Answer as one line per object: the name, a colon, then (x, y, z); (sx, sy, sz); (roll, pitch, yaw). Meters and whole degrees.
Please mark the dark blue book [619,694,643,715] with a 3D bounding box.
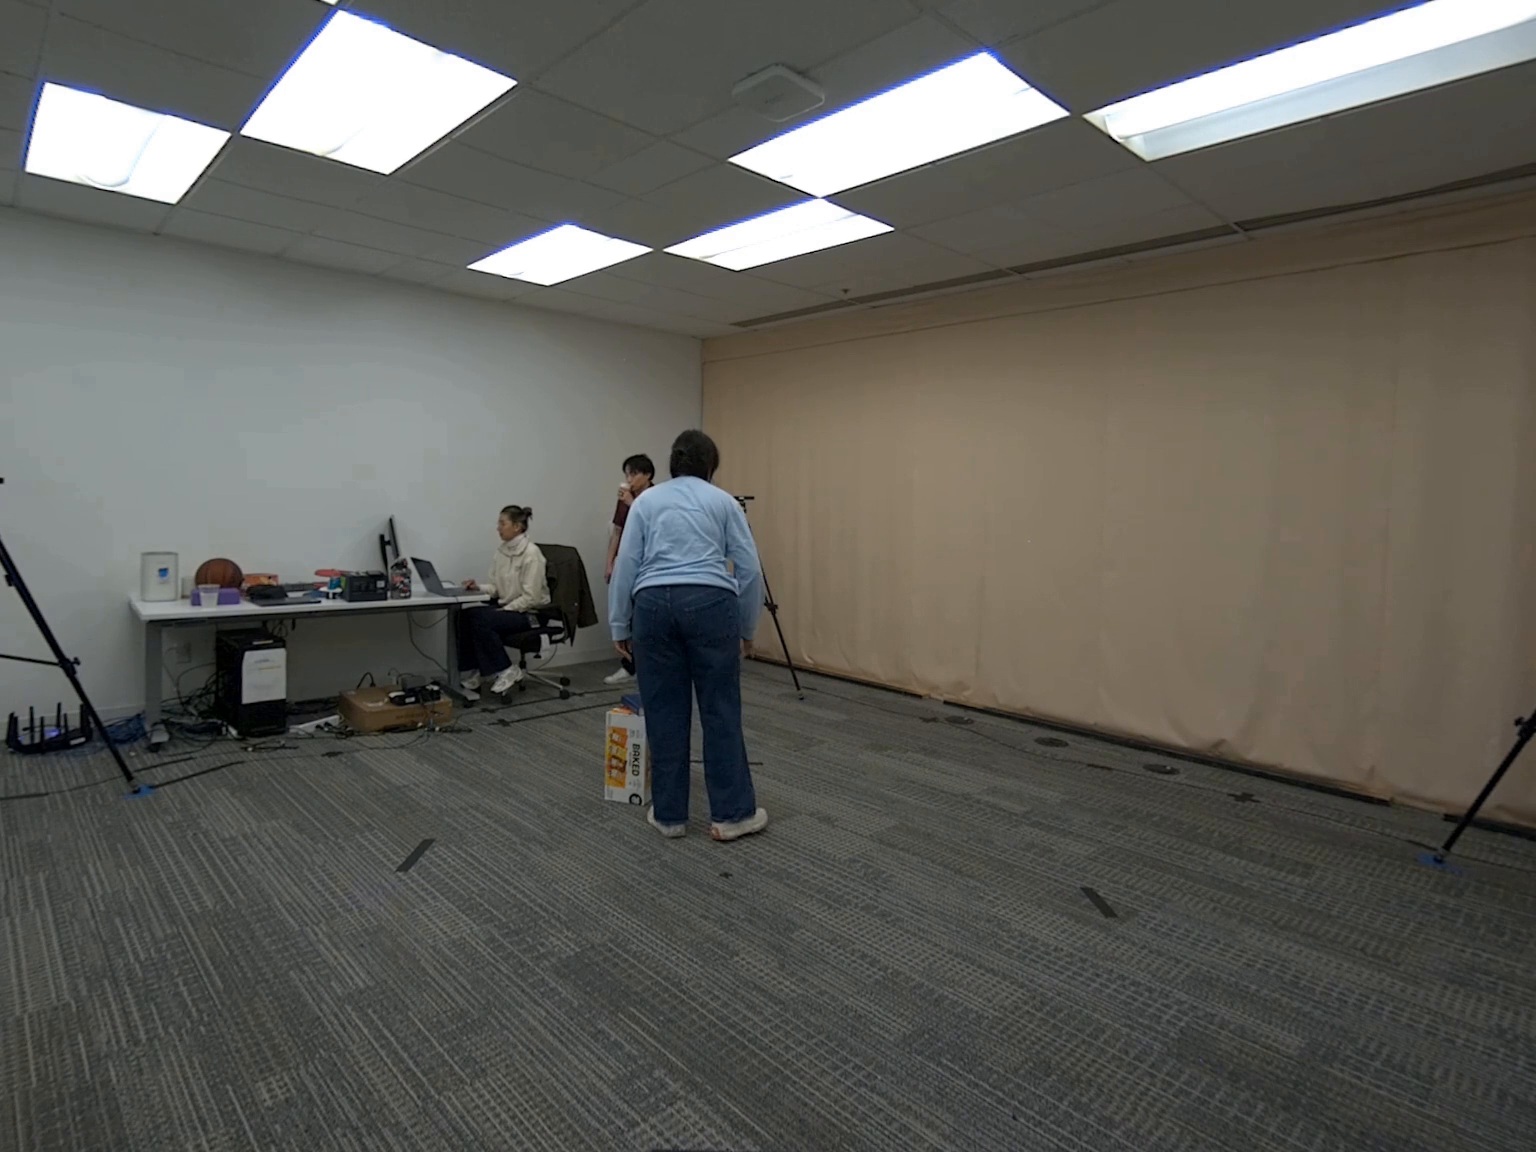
dark blue book: (-0.577, 0.600, 3.925); (0.160, 0.045, 0.250); (0, 6, -27)
